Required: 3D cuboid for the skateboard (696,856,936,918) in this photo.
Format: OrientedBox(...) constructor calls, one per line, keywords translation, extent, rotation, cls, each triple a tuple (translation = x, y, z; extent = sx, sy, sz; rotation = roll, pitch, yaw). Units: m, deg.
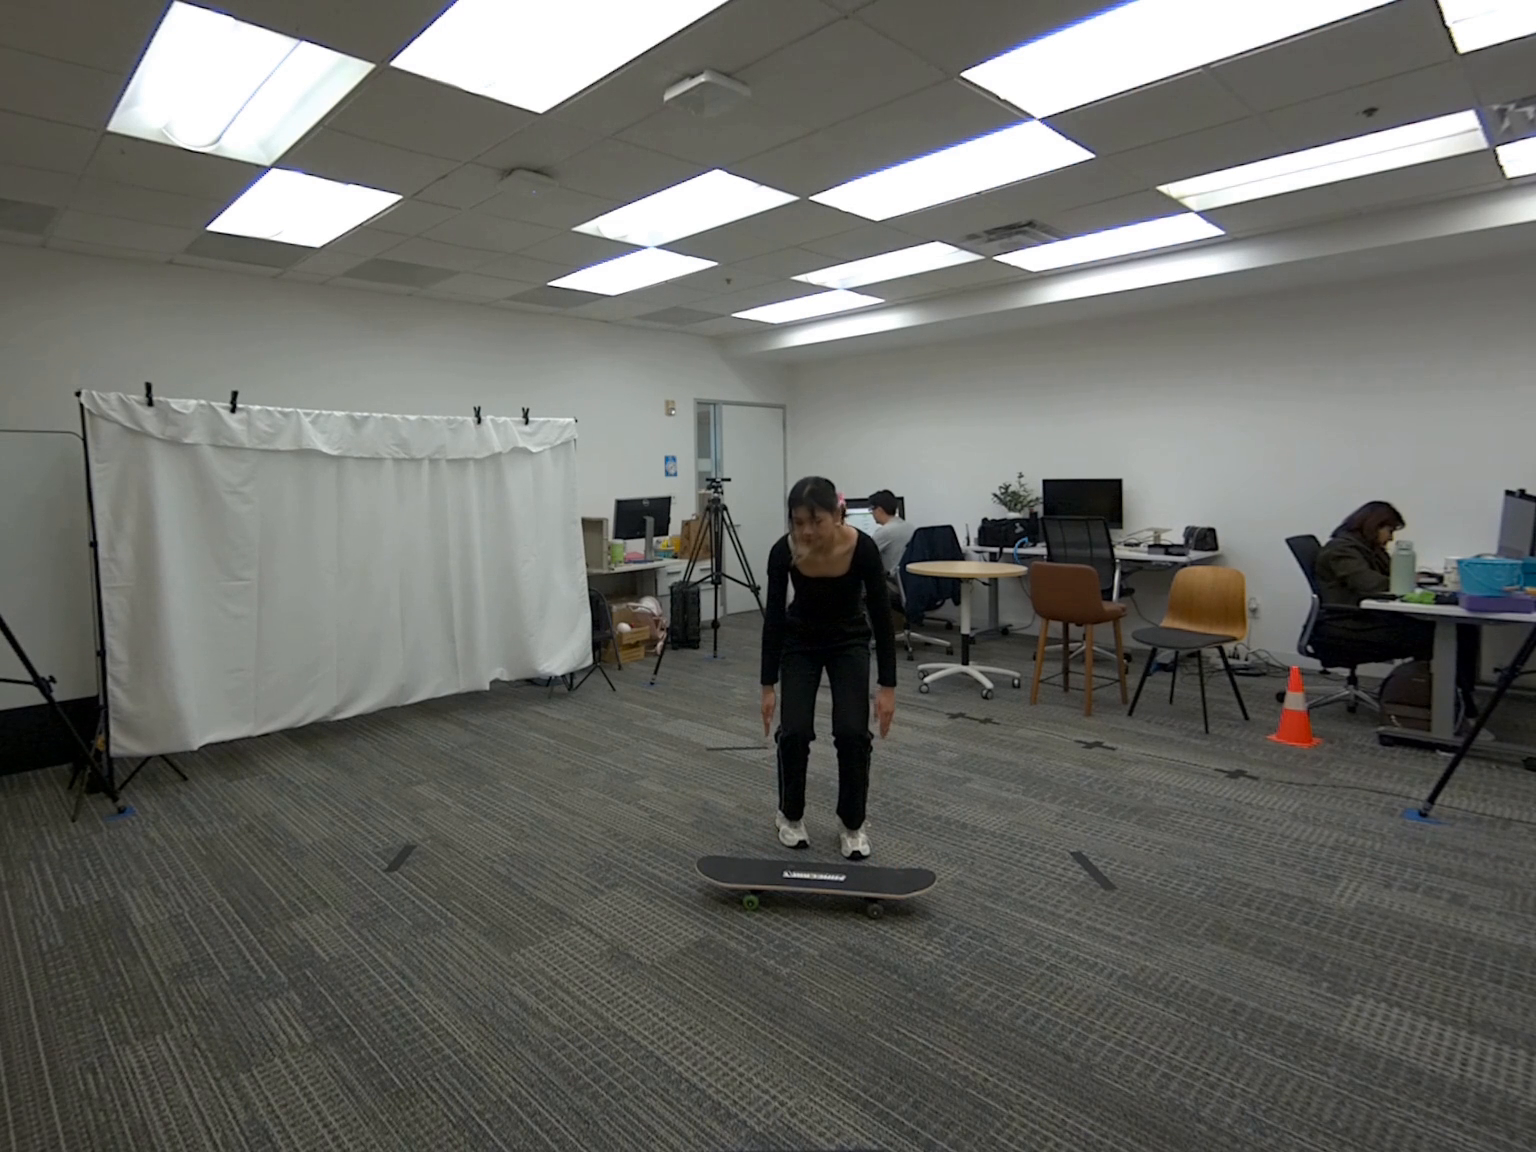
OrientedBox(translation=(0.150, 1.012, 2.810), extent=(0.793, 0.110, 0.192), rotation=(0, 6, 10), cls="skateboard")
